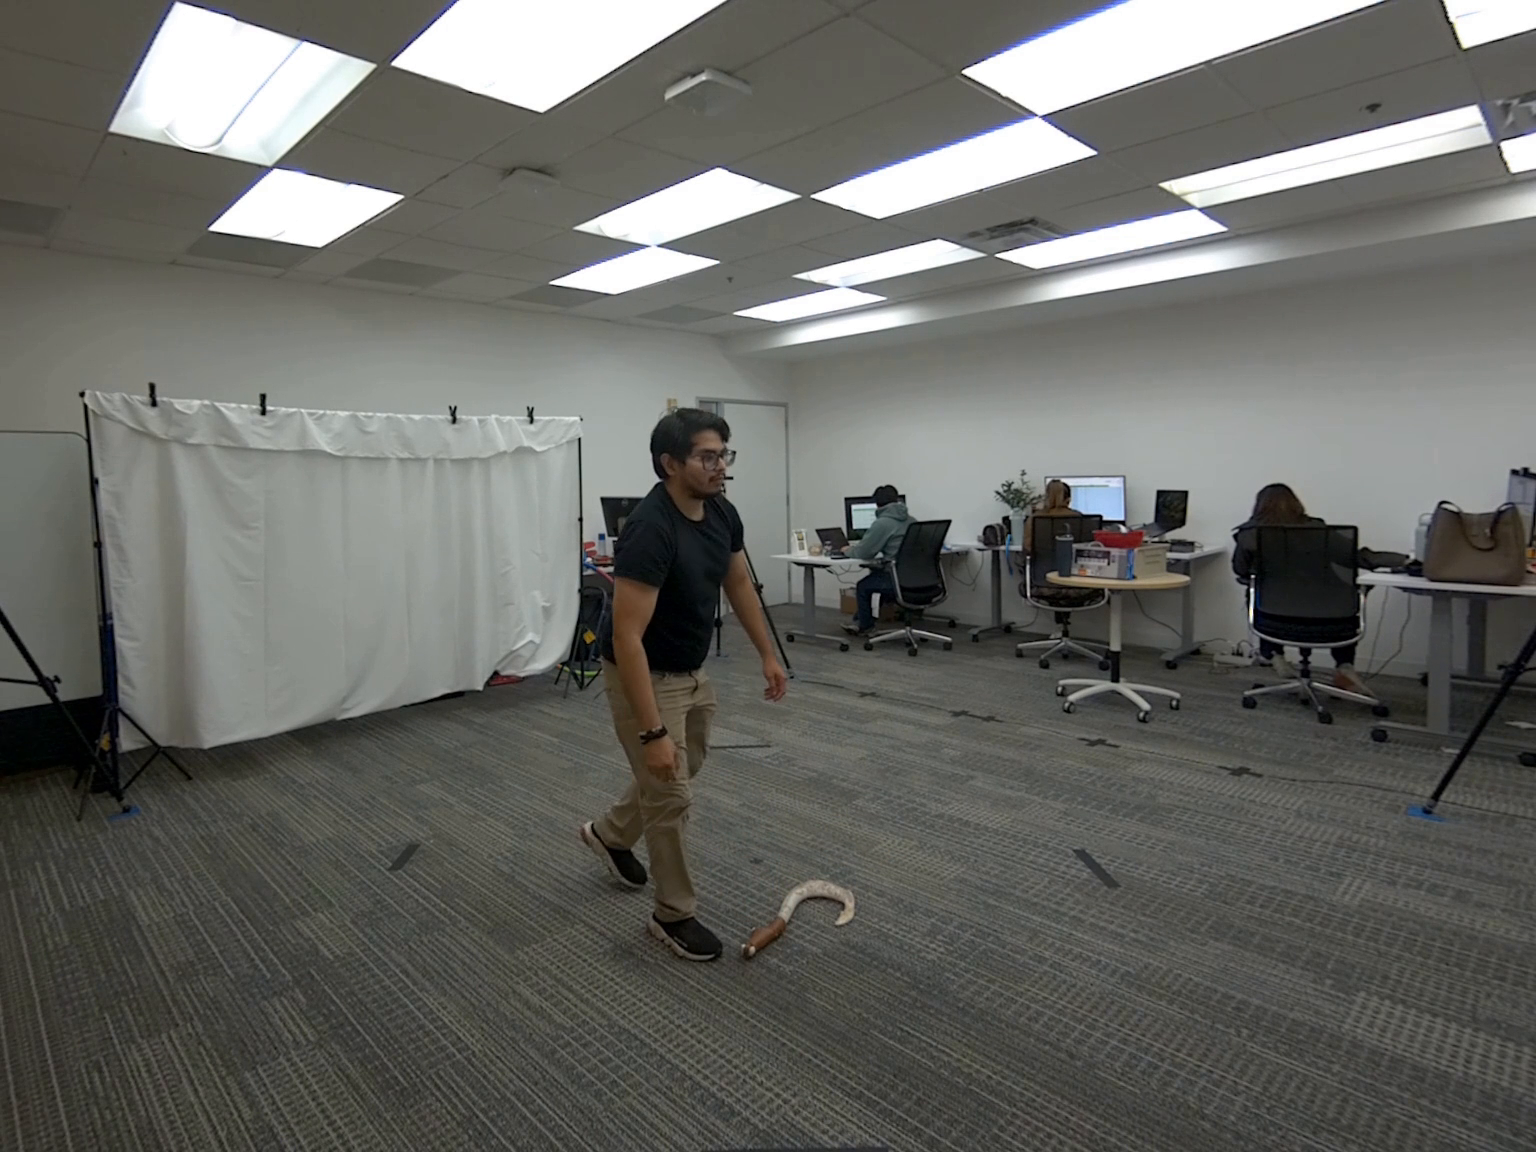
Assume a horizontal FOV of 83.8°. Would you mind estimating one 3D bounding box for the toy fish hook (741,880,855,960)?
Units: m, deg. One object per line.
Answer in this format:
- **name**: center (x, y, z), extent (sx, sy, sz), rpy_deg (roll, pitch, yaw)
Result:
- **toy fish hook**: center (0.108, 1.066, 2.644), extent (0.231, 0.048, 0.495), rpy_deg (2, 8, 32)
